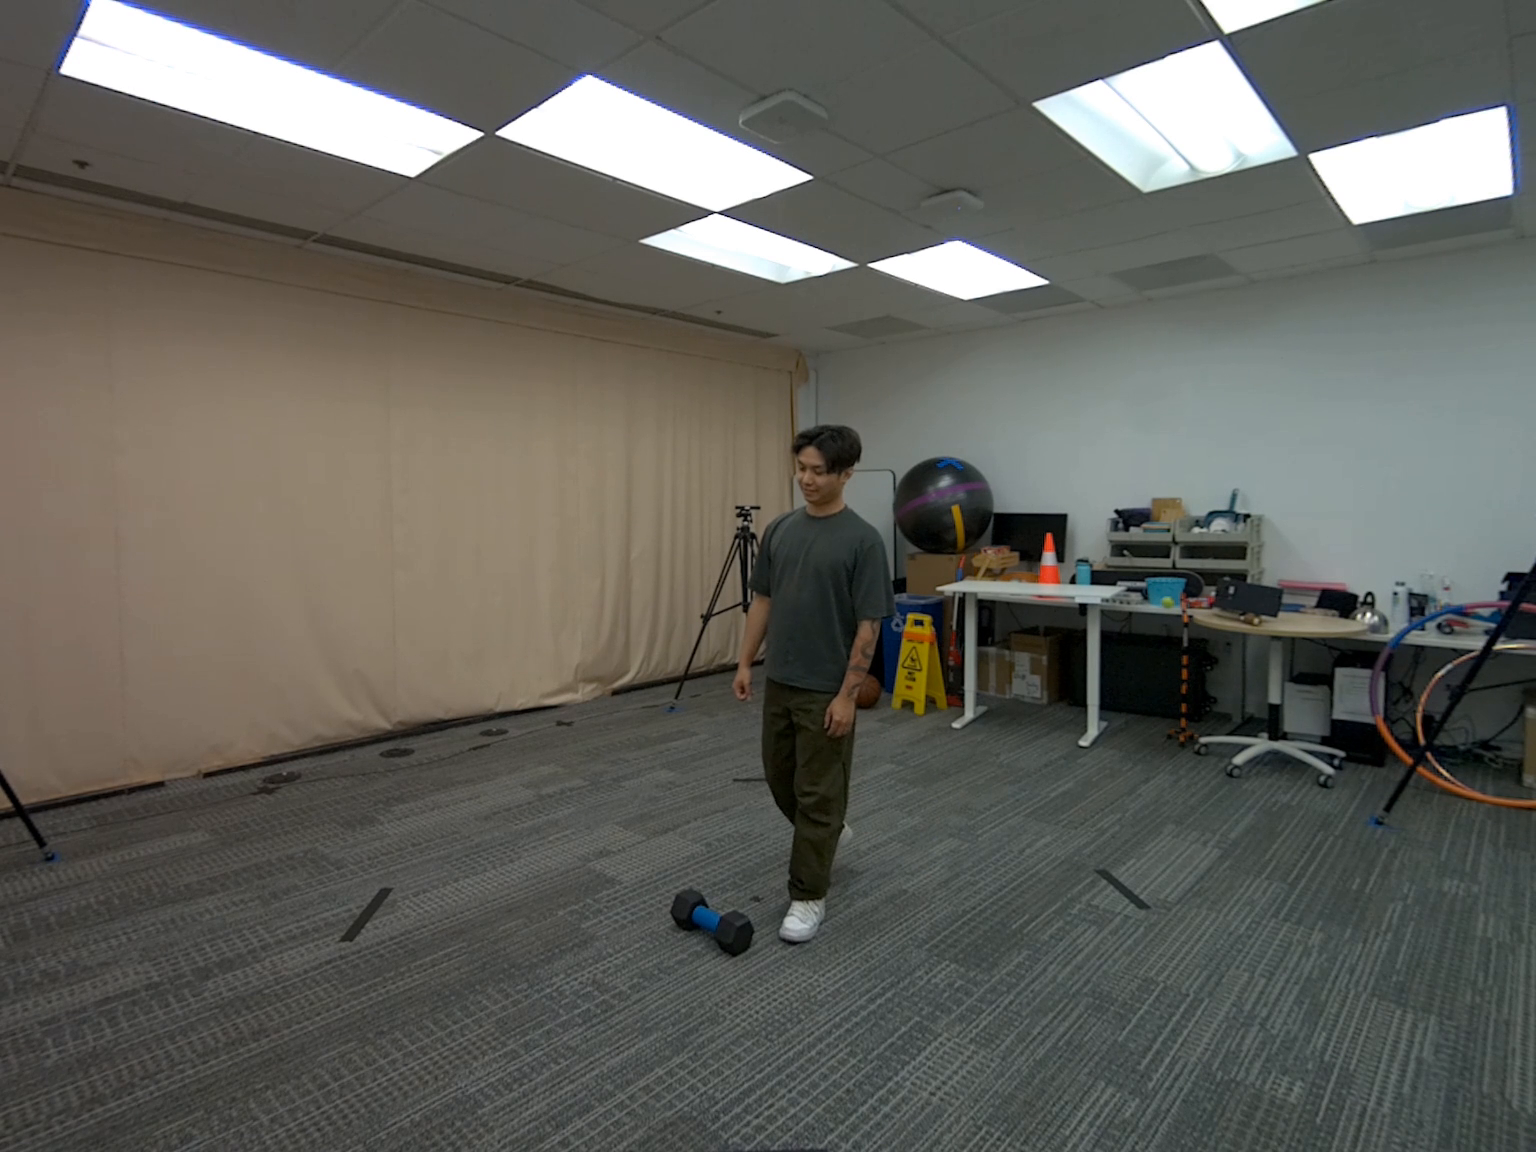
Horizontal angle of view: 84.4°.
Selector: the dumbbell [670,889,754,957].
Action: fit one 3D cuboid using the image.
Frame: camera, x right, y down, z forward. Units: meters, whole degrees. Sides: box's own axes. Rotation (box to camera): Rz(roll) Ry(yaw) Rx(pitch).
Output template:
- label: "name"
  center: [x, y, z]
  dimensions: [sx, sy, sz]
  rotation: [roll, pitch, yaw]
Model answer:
- label: "dumbbell"
  center: [-0.181, 1.114, 2.714]
  dimensions: [0.303, 0.120, 0.107]
  rotation: [5, 36, 45]
